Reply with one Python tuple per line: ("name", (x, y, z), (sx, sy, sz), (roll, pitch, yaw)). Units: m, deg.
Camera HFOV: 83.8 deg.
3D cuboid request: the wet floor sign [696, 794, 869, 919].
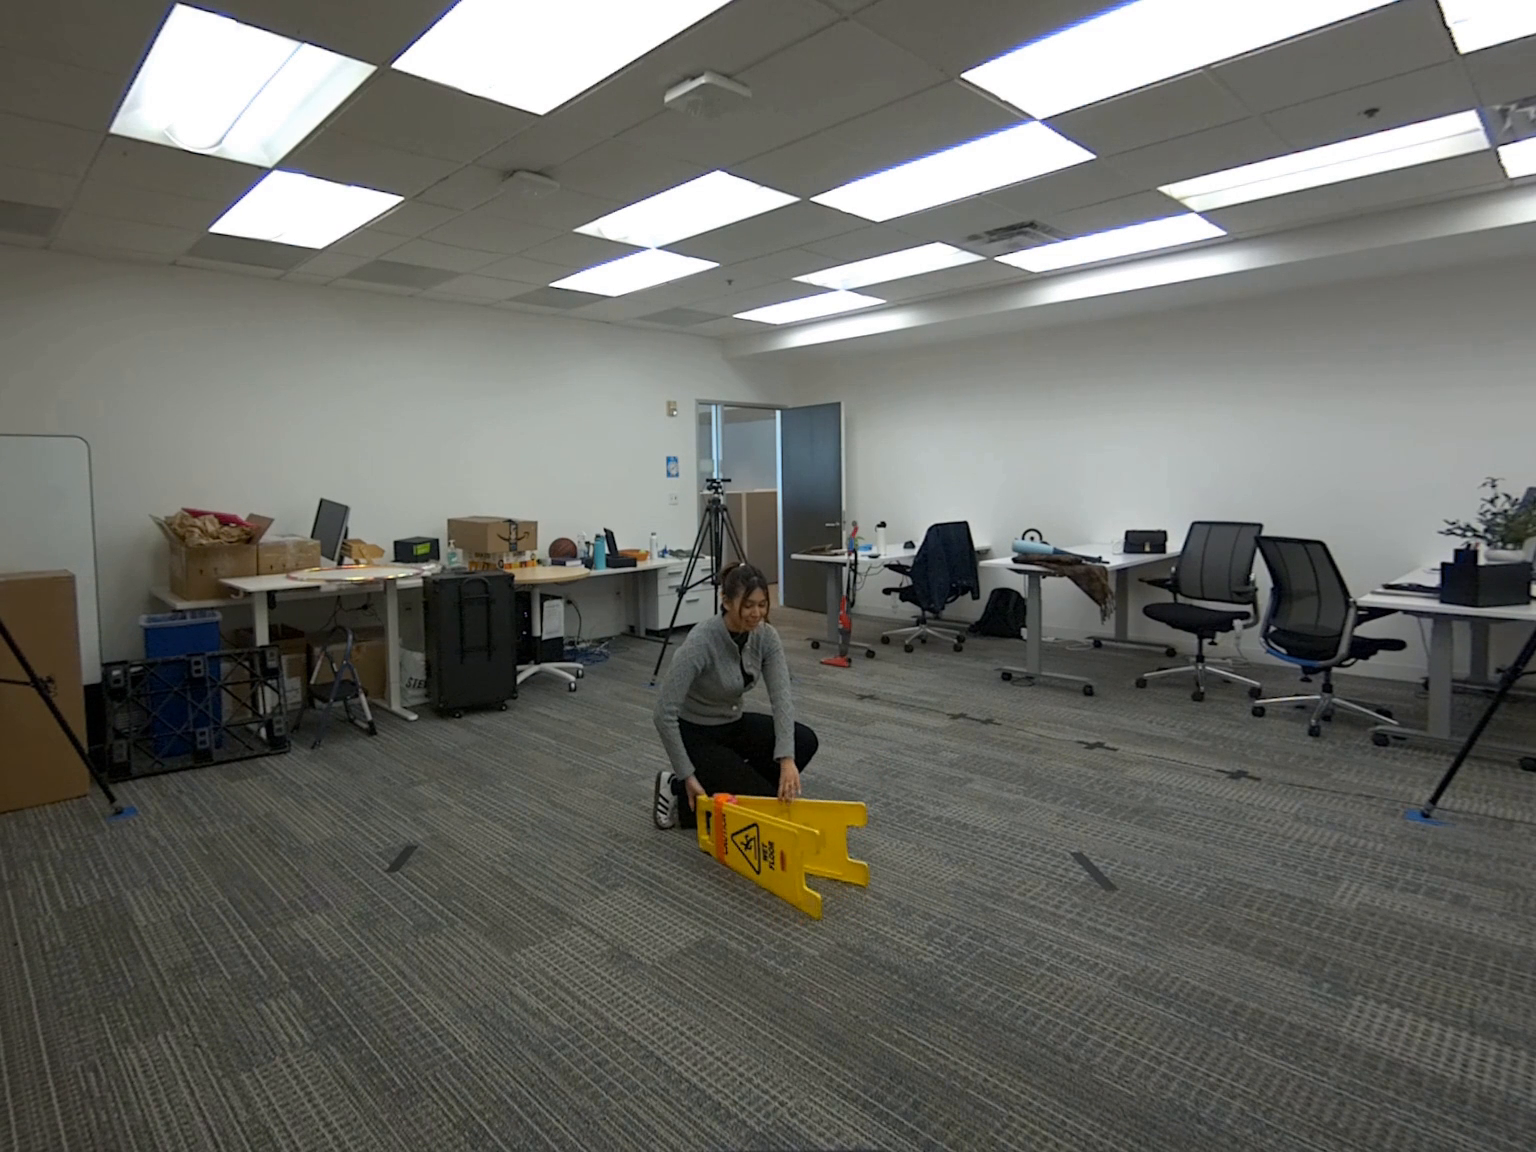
("wet floor sign", (-0.002, 0.934, 3.017), (0.665, 0.281, 0.282), (1, 5, 40))
